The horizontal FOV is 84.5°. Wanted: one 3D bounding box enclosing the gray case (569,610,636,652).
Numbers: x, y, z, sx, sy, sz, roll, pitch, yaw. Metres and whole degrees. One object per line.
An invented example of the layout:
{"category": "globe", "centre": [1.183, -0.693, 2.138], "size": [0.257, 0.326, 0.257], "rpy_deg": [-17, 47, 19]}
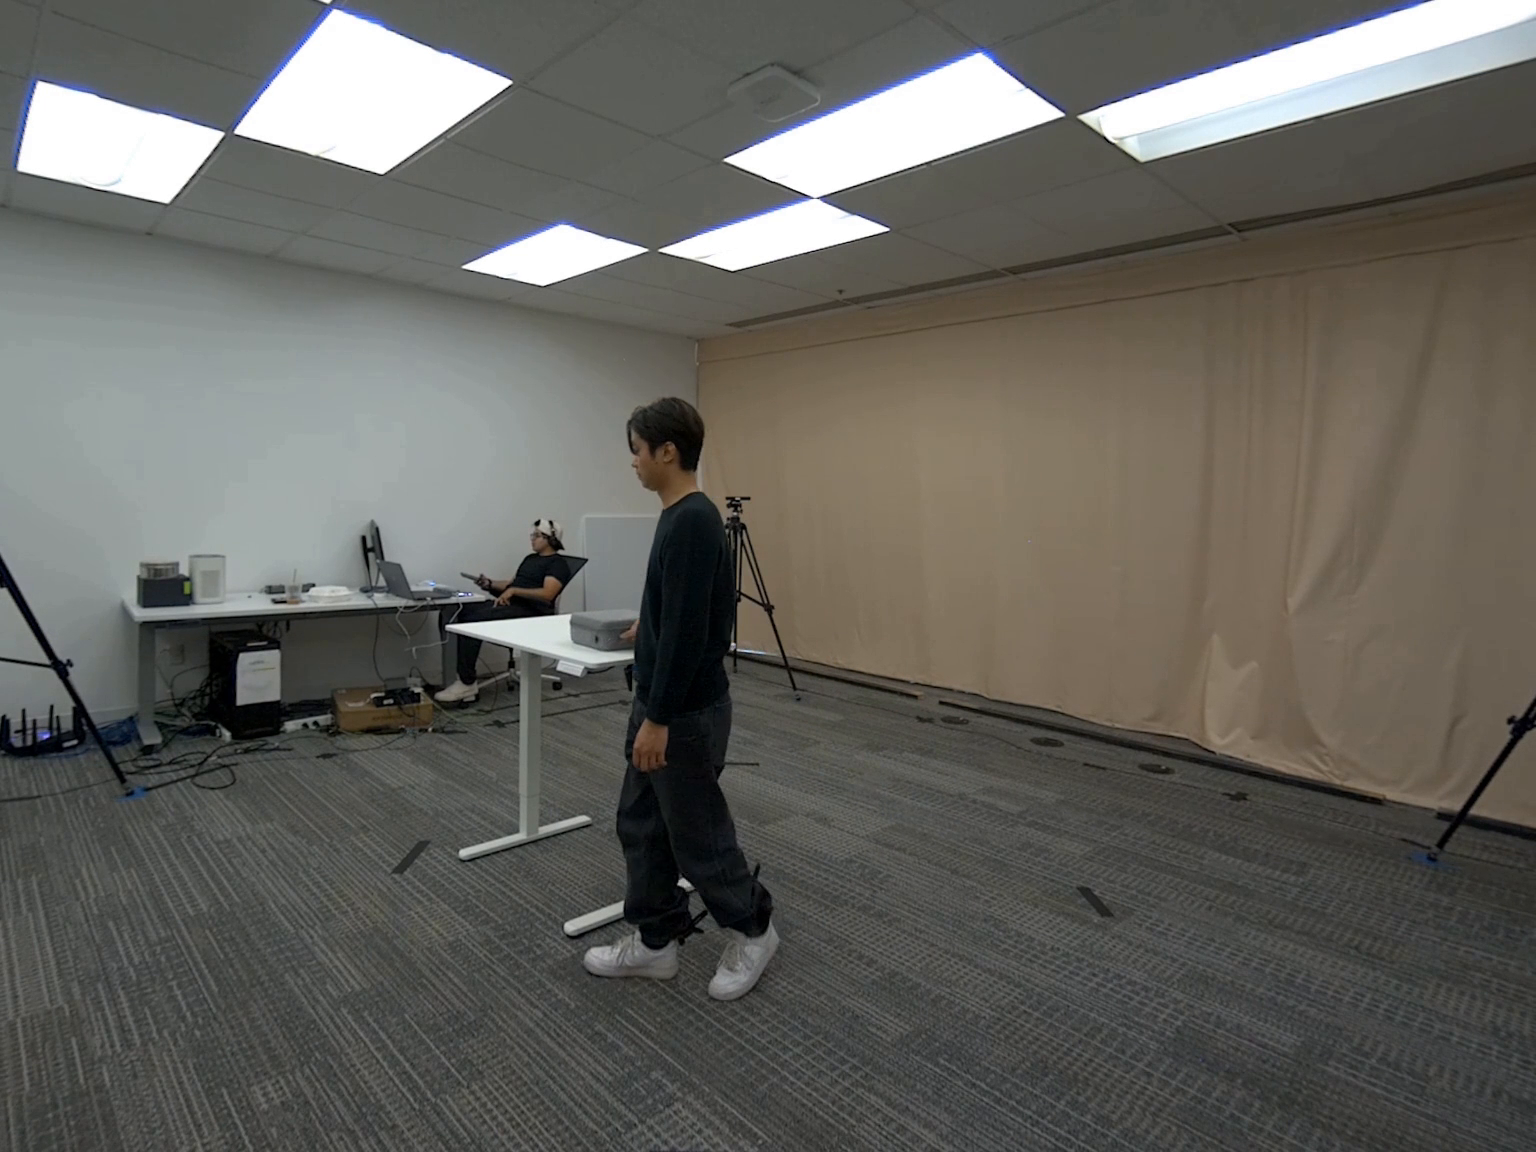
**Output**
{"category": "gray case", "centre": [-0.518, 0.180, 2.881], "size": [0.251, 0.104, 0.267], "rpy_deg": [-3, 7, -40]}
